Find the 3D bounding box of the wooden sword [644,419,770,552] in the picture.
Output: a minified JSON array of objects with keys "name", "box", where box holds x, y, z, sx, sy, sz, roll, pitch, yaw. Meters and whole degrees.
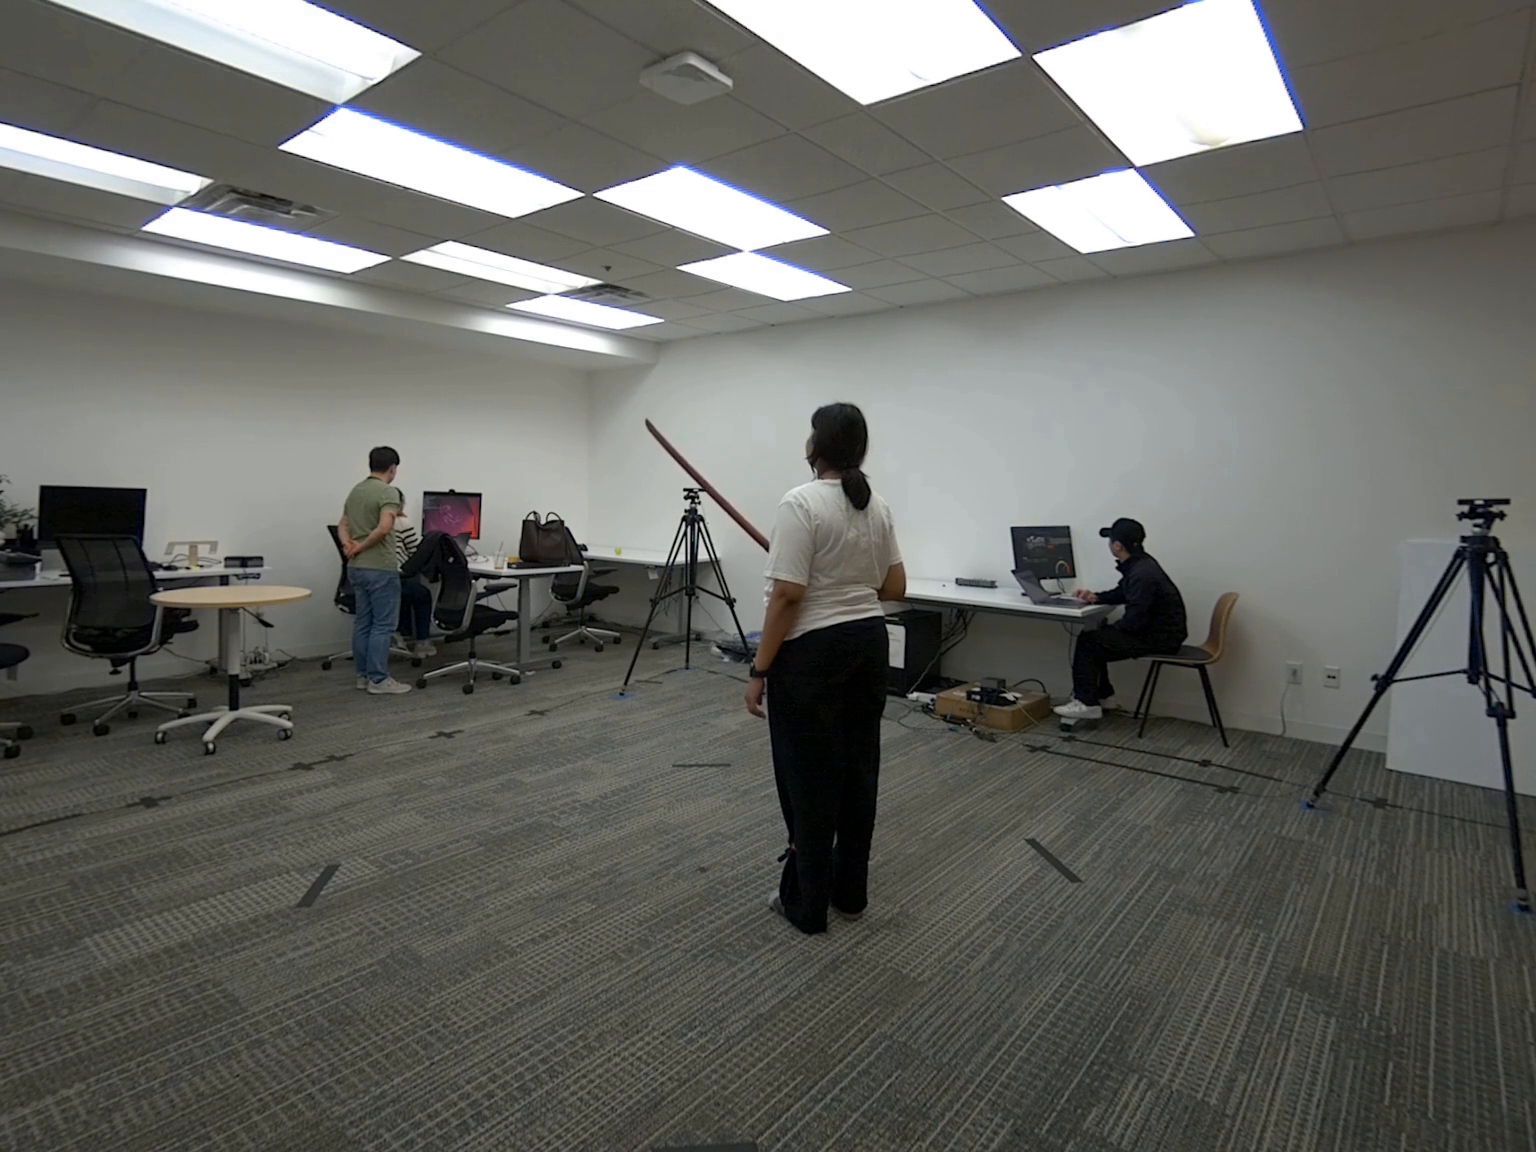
[{"name":"wooden sword","box":[-0.192,-0.294,3.254,1.058,0.024,0.050,45,30,24]}]
